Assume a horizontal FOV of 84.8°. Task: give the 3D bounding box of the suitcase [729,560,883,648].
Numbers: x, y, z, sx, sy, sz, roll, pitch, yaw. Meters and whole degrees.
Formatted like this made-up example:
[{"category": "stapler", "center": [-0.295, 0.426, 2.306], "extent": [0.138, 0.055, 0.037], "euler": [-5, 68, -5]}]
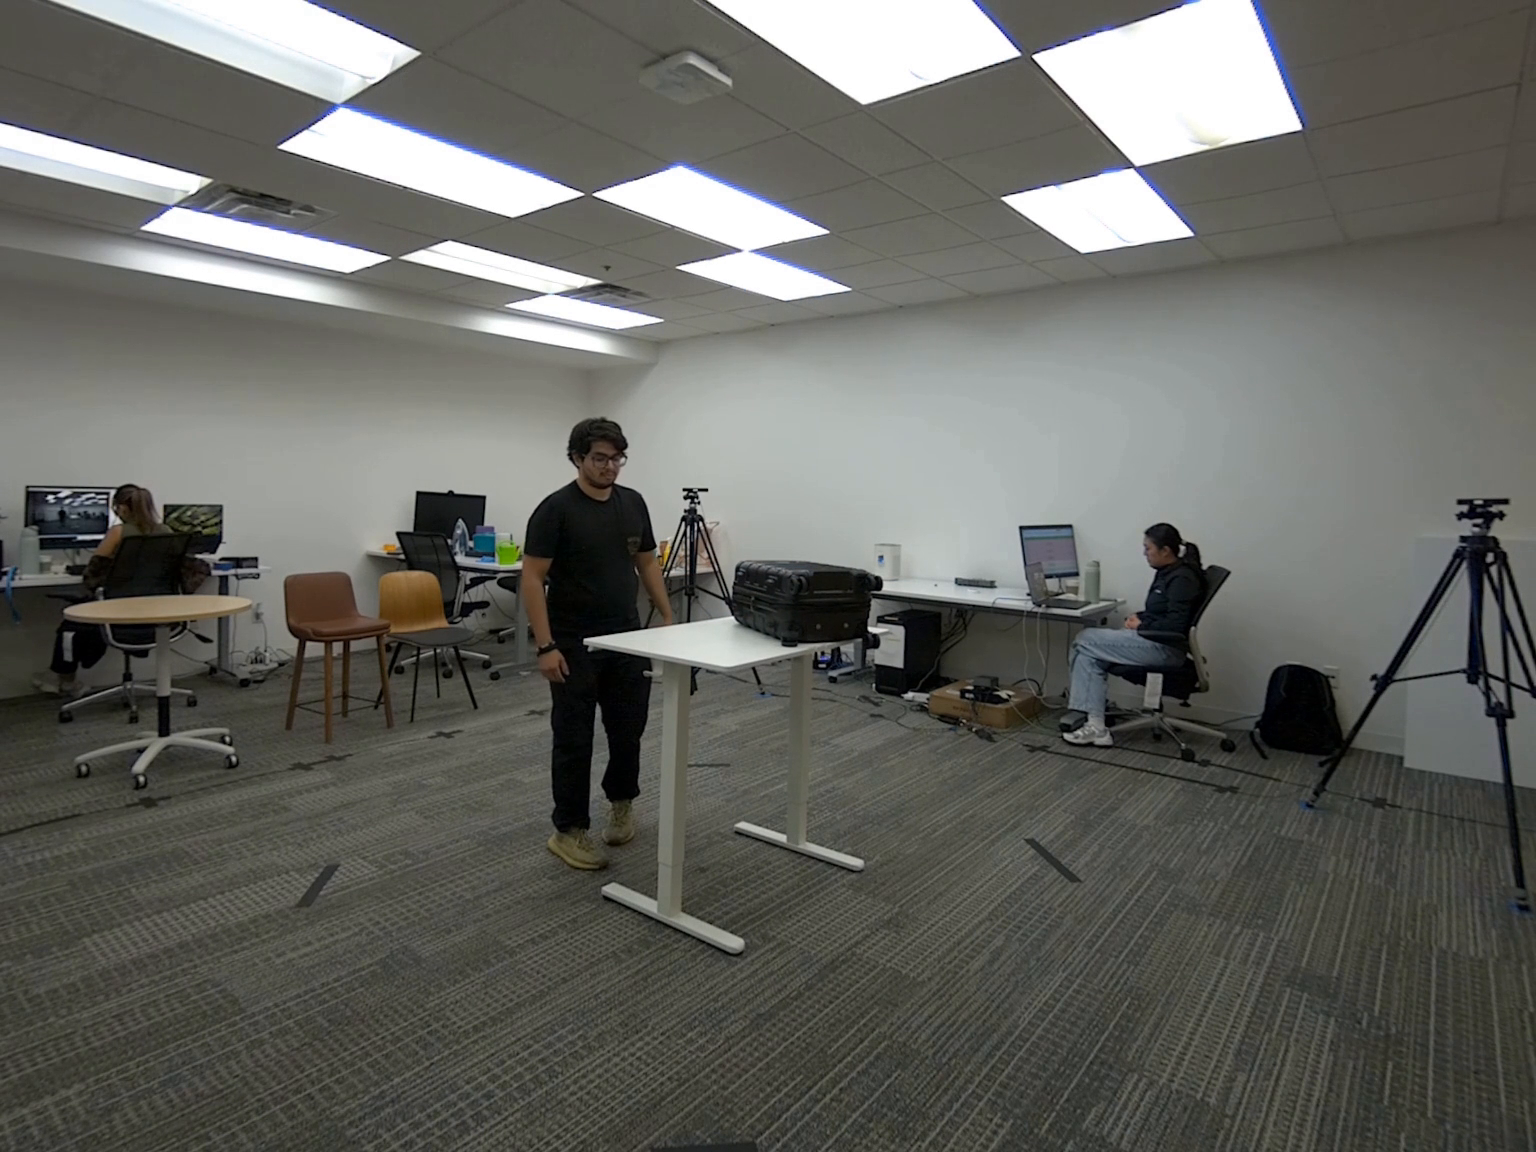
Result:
[{"category": "suitcase", "center": [0.104, 0.085, 3.058], "extent": [0.366, 0.247, 0.564], "euler": [0, 5, -25]}]
